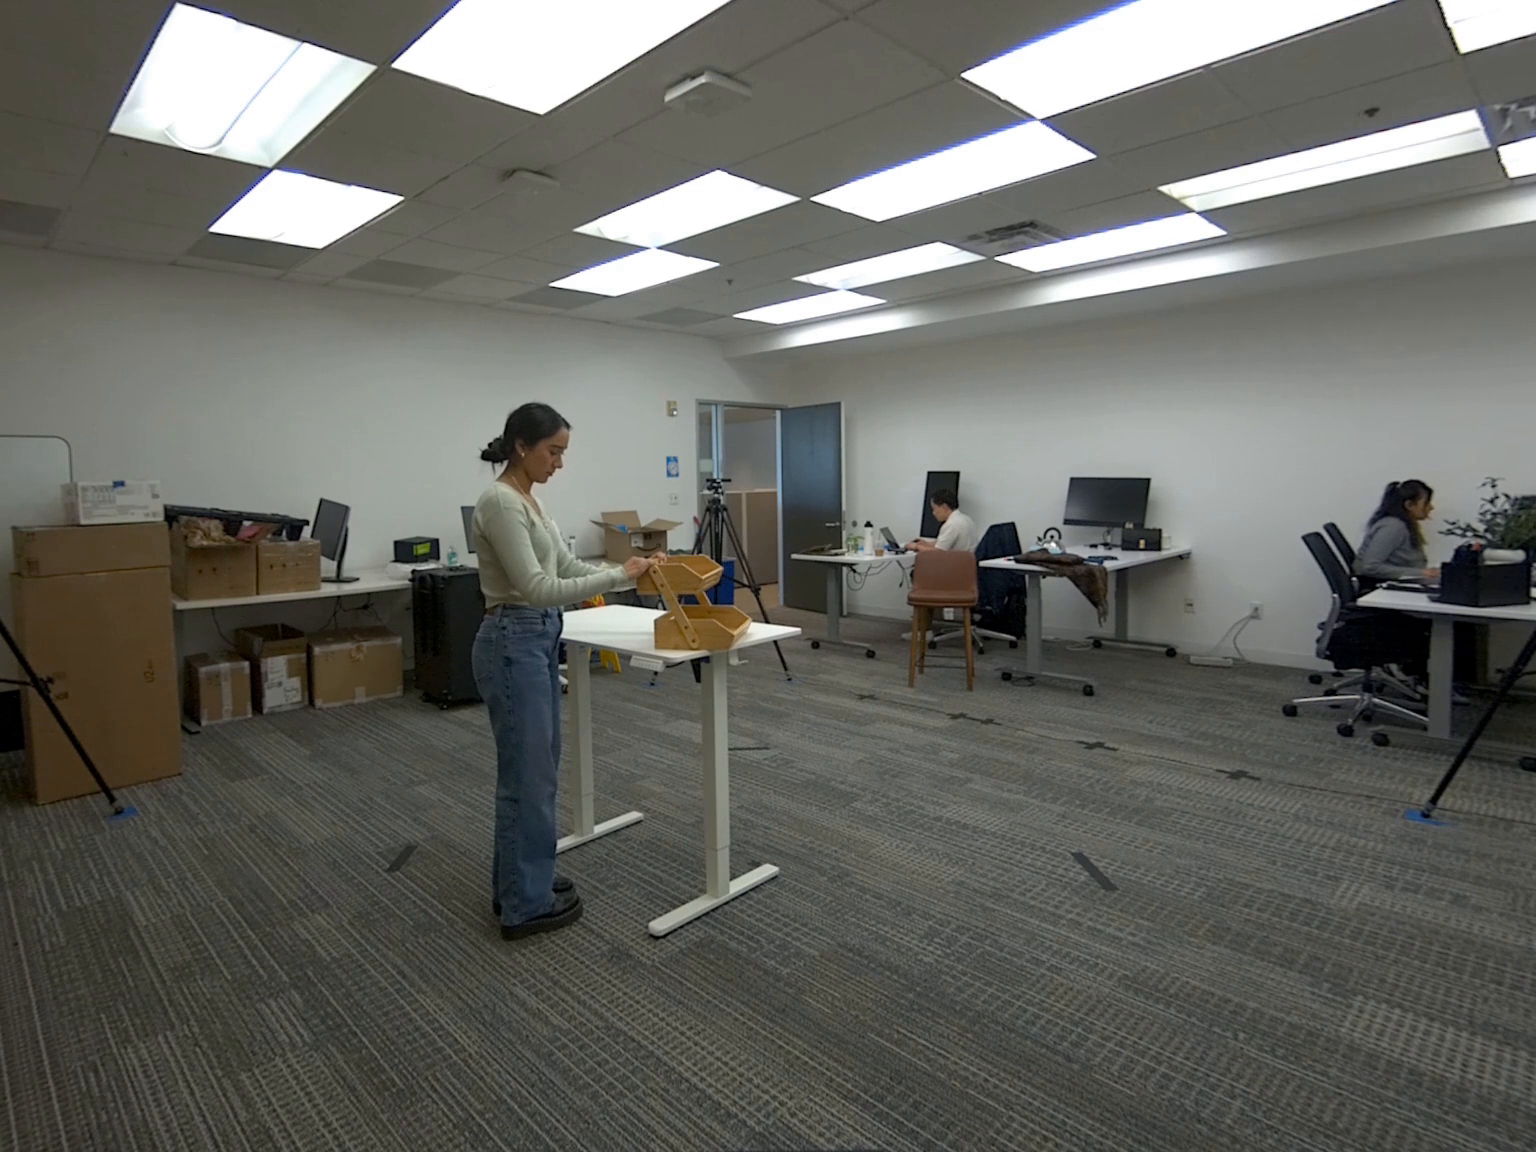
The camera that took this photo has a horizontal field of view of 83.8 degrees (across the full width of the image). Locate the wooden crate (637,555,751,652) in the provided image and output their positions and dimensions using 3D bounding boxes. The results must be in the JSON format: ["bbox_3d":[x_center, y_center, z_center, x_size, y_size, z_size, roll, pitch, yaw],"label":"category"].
[{"bbox_3d":[-0.232,0.072,2.719,0.305,0.272,0.322,-1,4,11],"label":"wooden crate"}]
